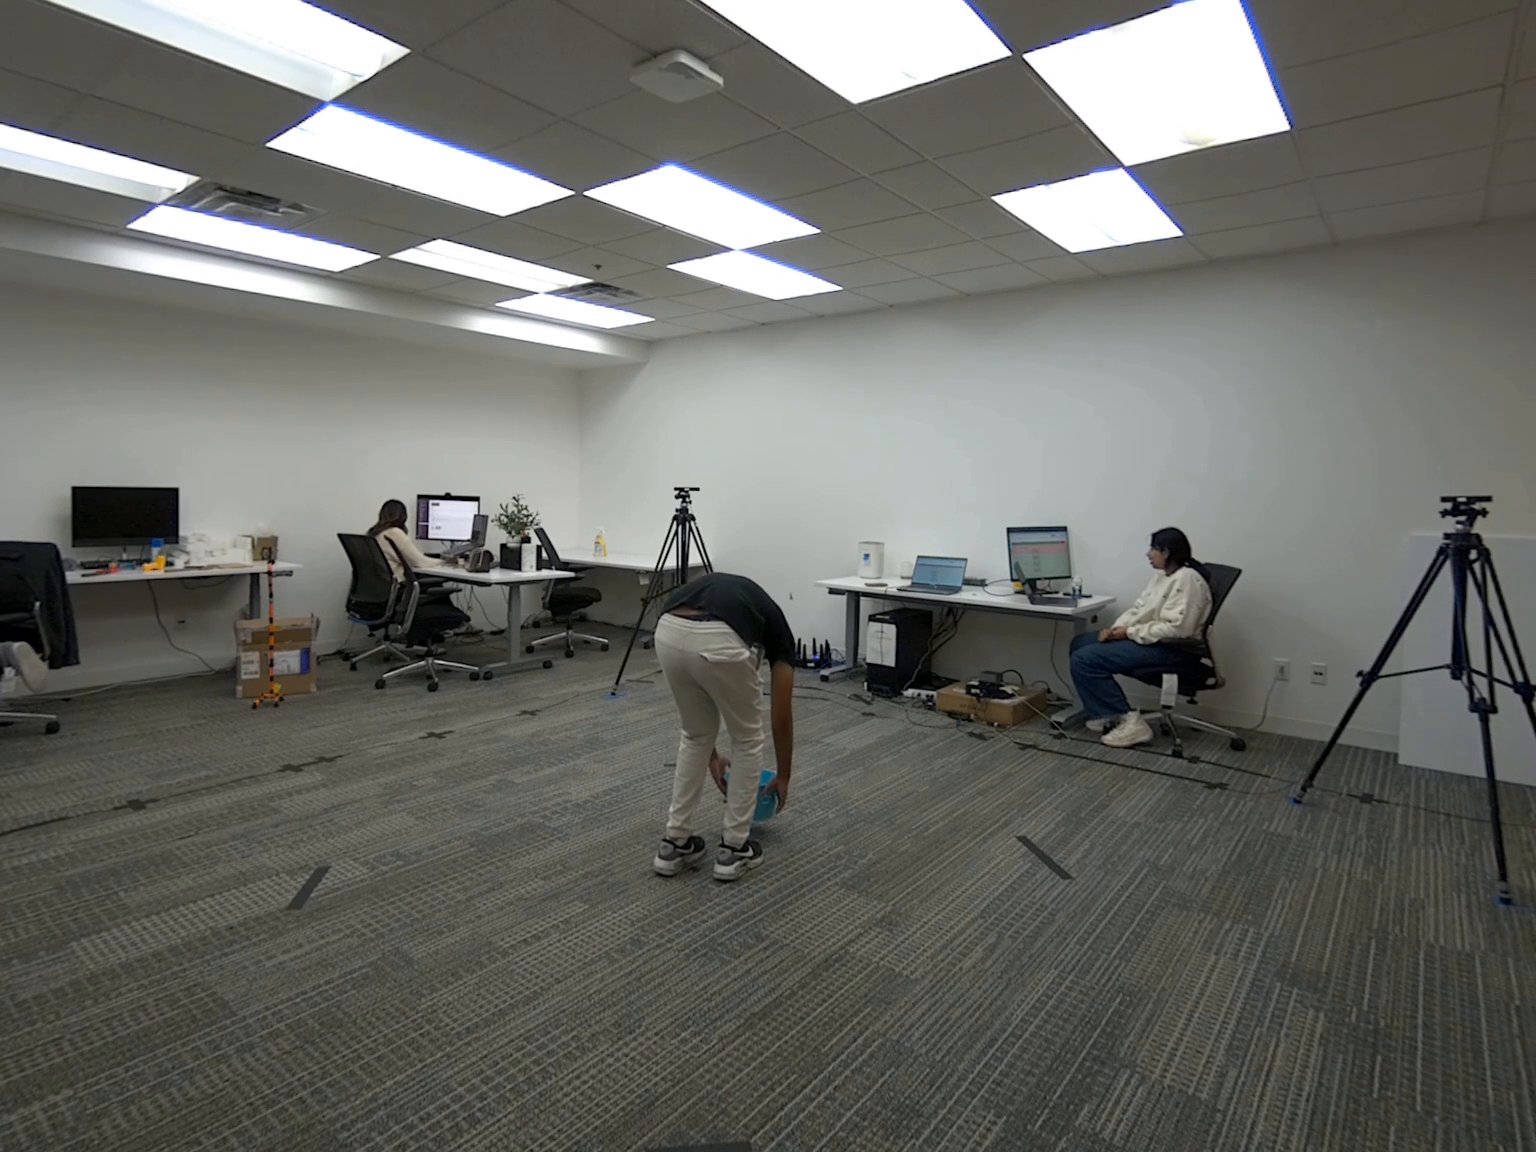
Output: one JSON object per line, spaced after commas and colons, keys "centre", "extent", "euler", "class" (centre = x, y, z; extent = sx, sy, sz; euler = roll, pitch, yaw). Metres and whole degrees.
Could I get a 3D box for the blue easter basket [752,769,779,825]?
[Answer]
{"centre": [-0.070, 0.867, 3.469], "extent": [0.243, 0.155, 0.245], "euler": [1, 4, -2], "class": "blue easter basket"}
